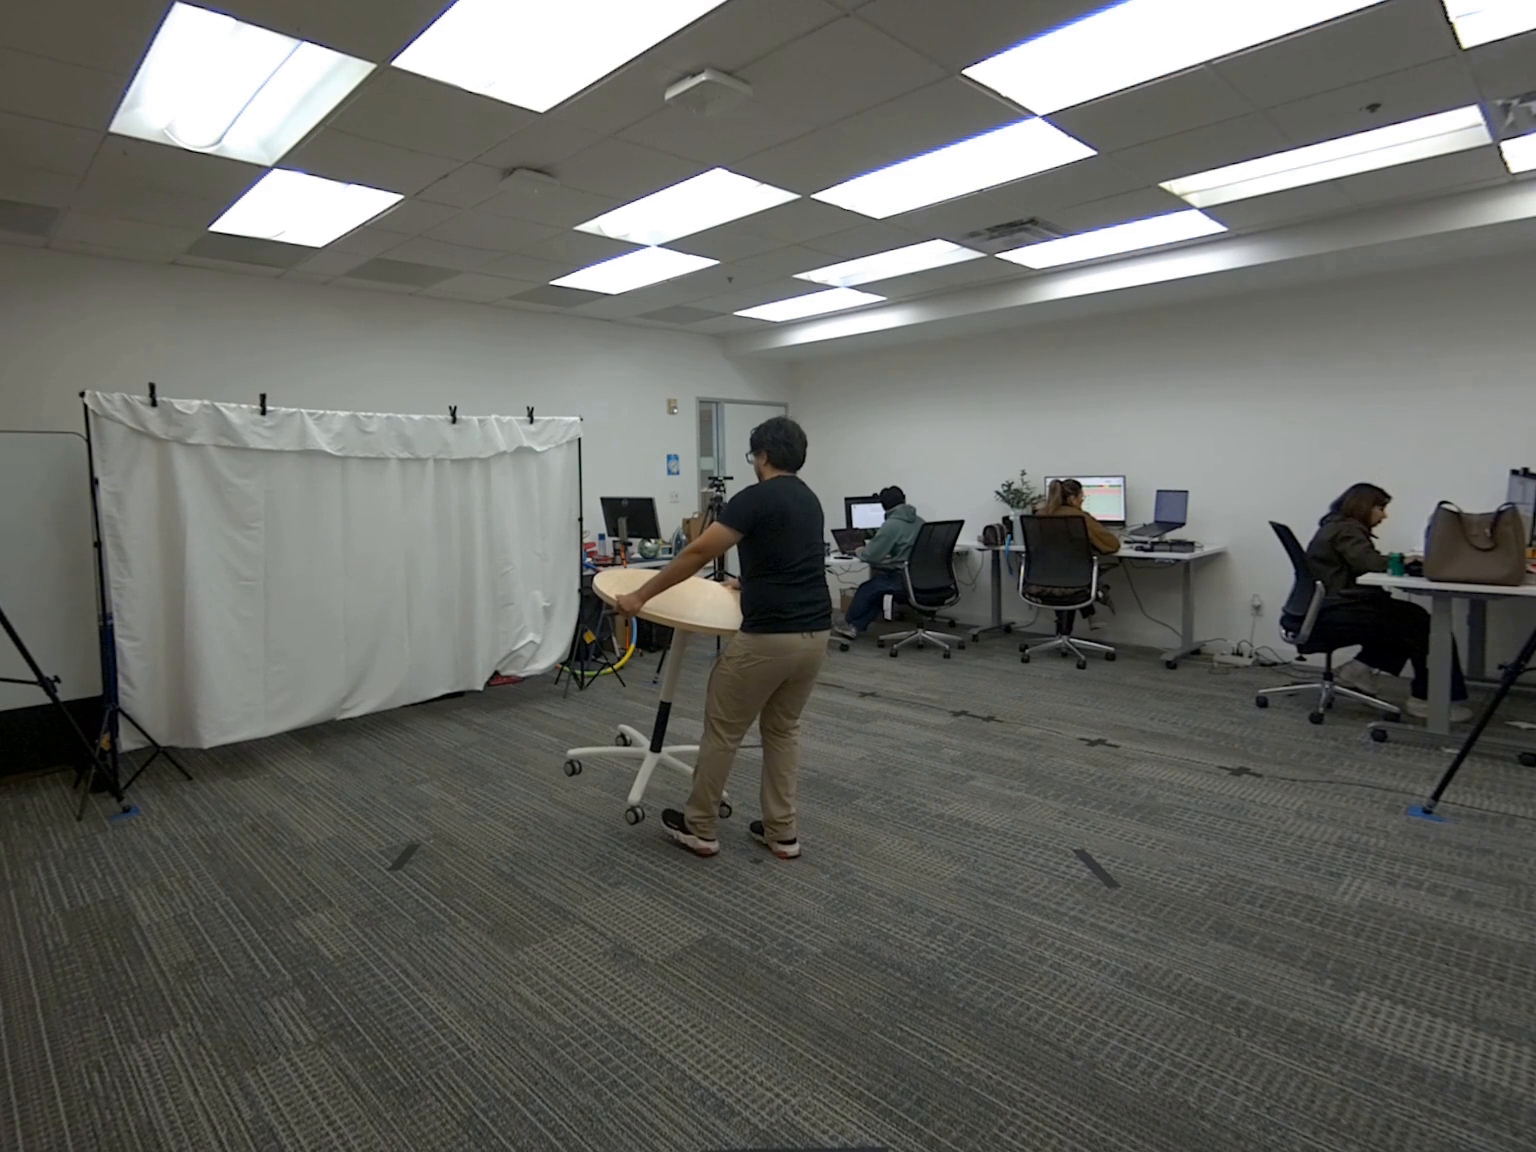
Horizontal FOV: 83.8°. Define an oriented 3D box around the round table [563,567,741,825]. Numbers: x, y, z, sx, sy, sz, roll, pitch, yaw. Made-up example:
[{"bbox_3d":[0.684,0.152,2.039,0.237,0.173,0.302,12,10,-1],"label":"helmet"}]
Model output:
[{"bbox_3d":[-0.411,0.467,3.445,0.783,0.781,0.794,11,11,-4],"label":"round table"}]
